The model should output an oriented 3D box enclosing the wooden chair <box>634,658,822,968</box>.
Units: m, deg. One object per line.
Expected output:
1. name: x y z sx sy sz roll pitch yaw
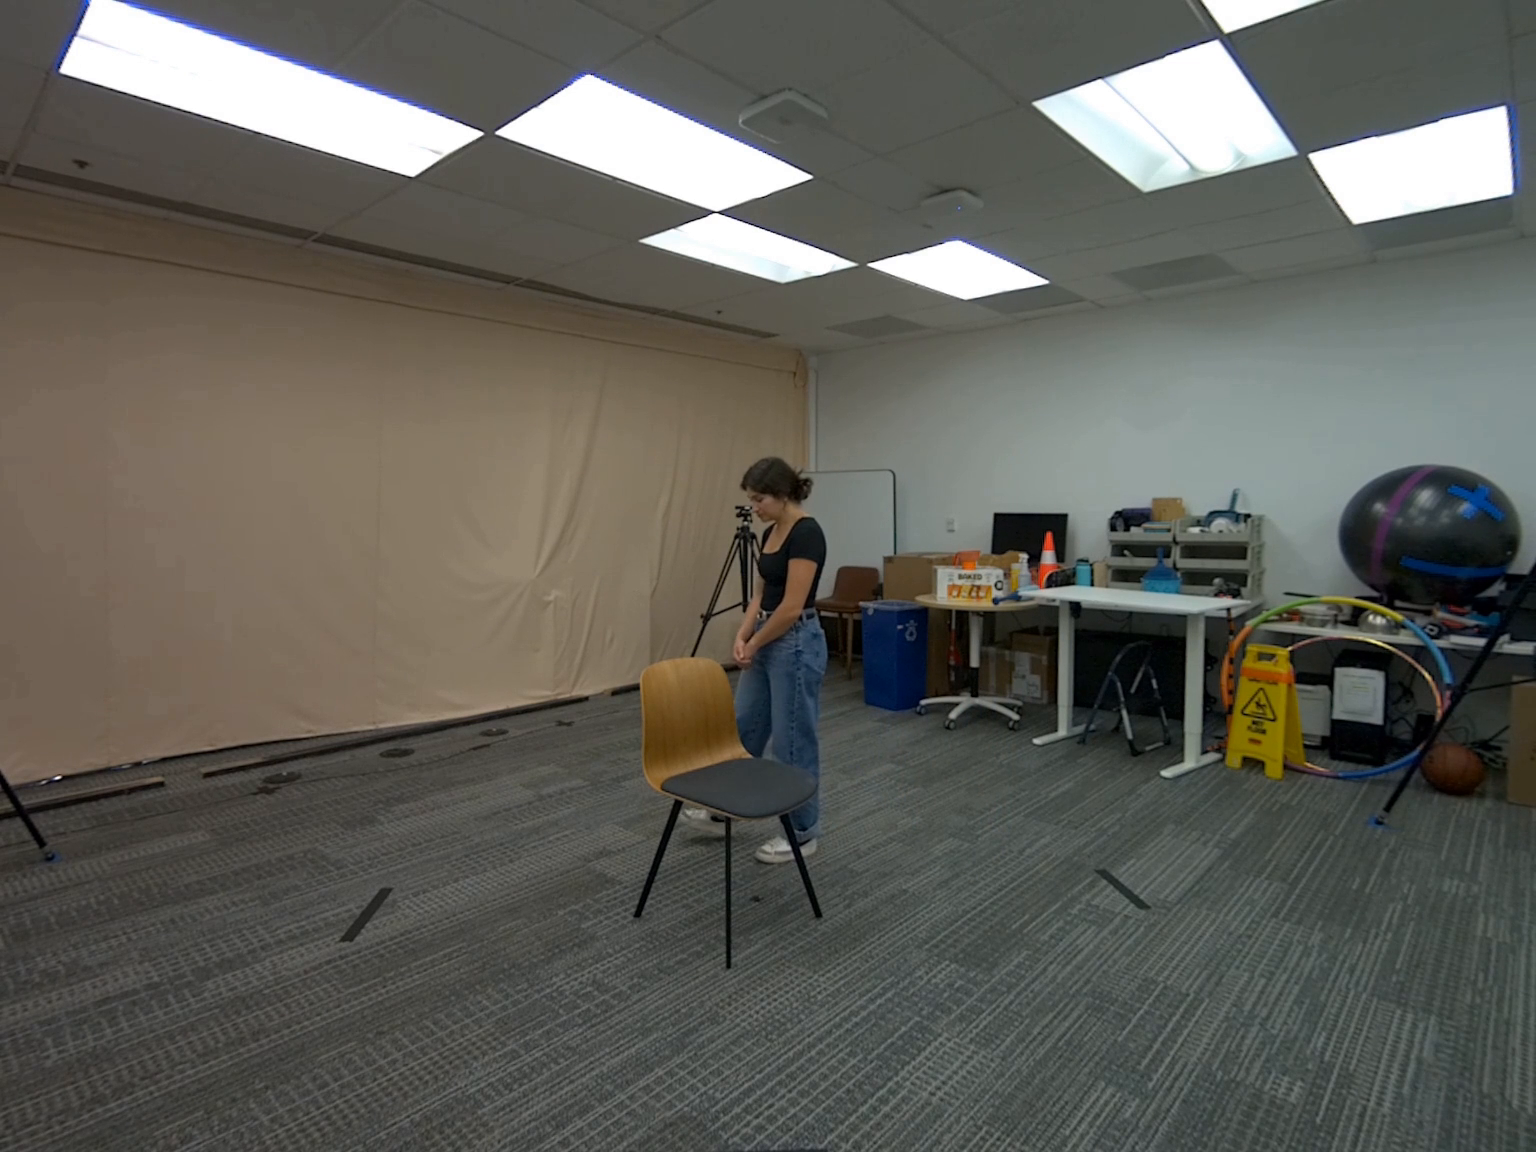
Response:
1. wooden chair: -0.134 0.735 2.810 0.539 0.877 0.463 -3 0 44
